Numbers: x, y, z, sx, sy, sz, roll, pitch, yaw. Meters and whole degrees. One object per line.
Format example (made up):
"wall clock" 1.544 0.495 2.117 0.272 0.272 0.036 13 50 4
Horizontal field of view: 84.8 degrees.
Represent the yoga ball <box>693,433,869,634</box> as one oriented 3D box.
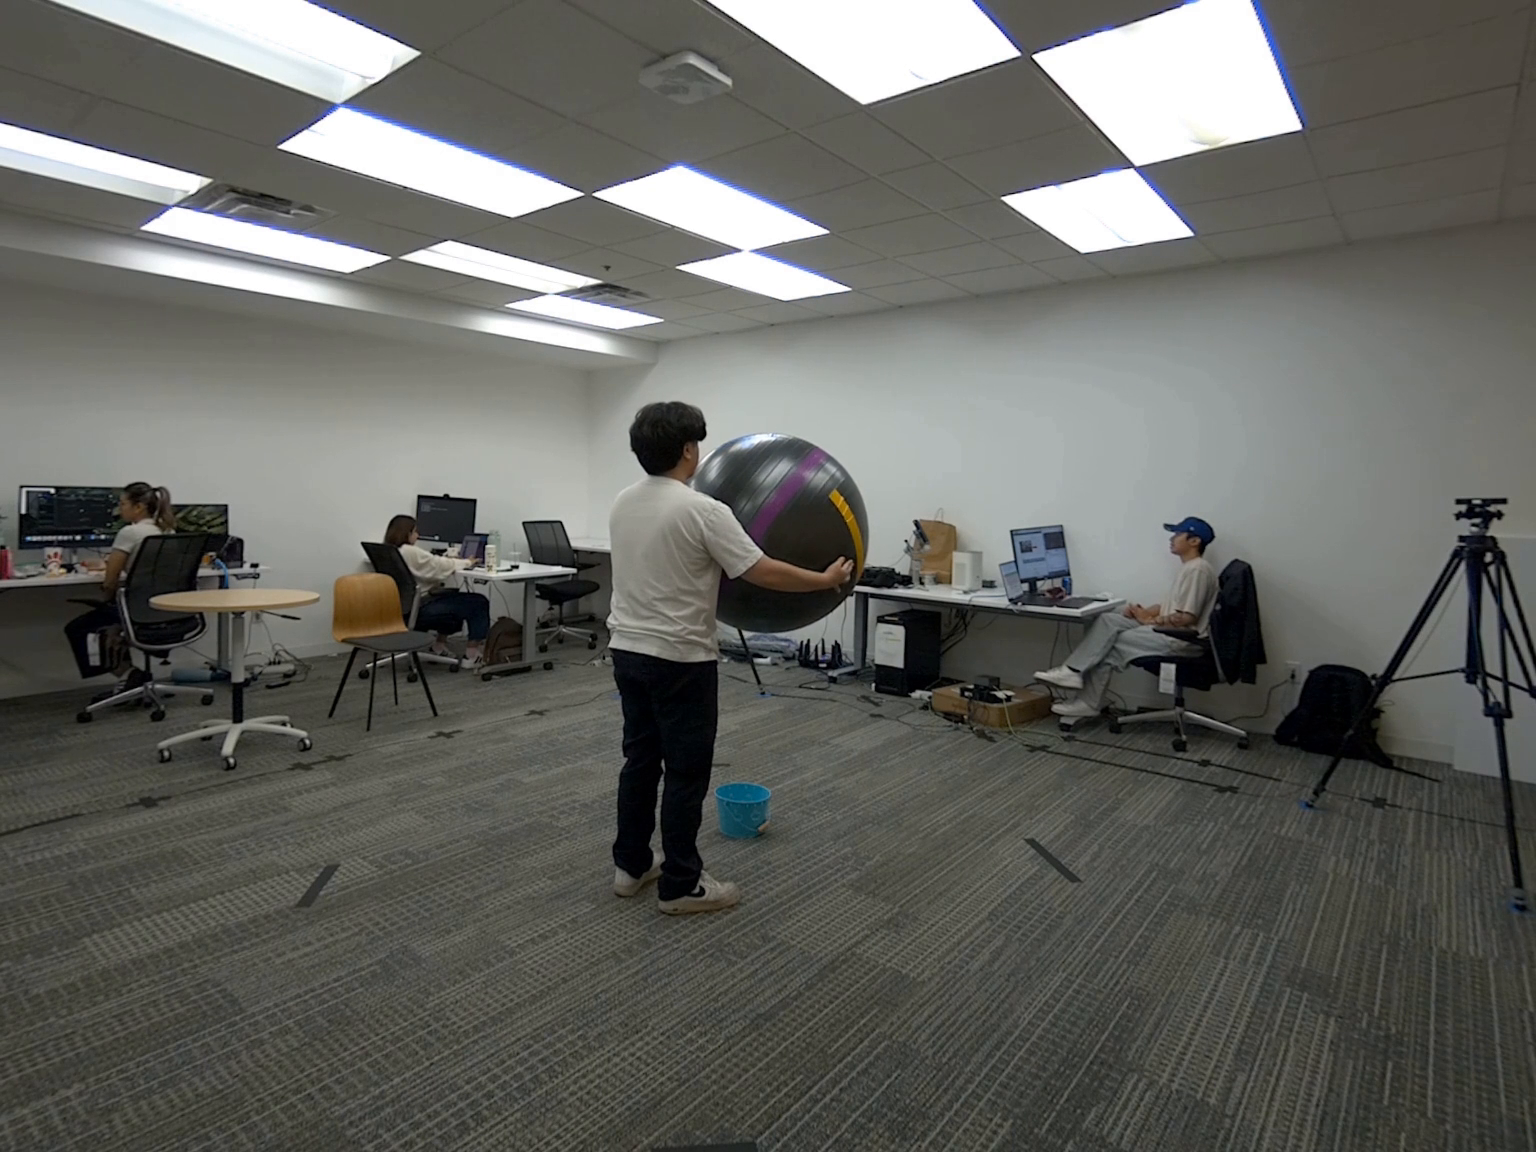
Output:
"yoga ball" -0.007 -0.155 3.241 0.757 0.755 0.762 1 4 -2
